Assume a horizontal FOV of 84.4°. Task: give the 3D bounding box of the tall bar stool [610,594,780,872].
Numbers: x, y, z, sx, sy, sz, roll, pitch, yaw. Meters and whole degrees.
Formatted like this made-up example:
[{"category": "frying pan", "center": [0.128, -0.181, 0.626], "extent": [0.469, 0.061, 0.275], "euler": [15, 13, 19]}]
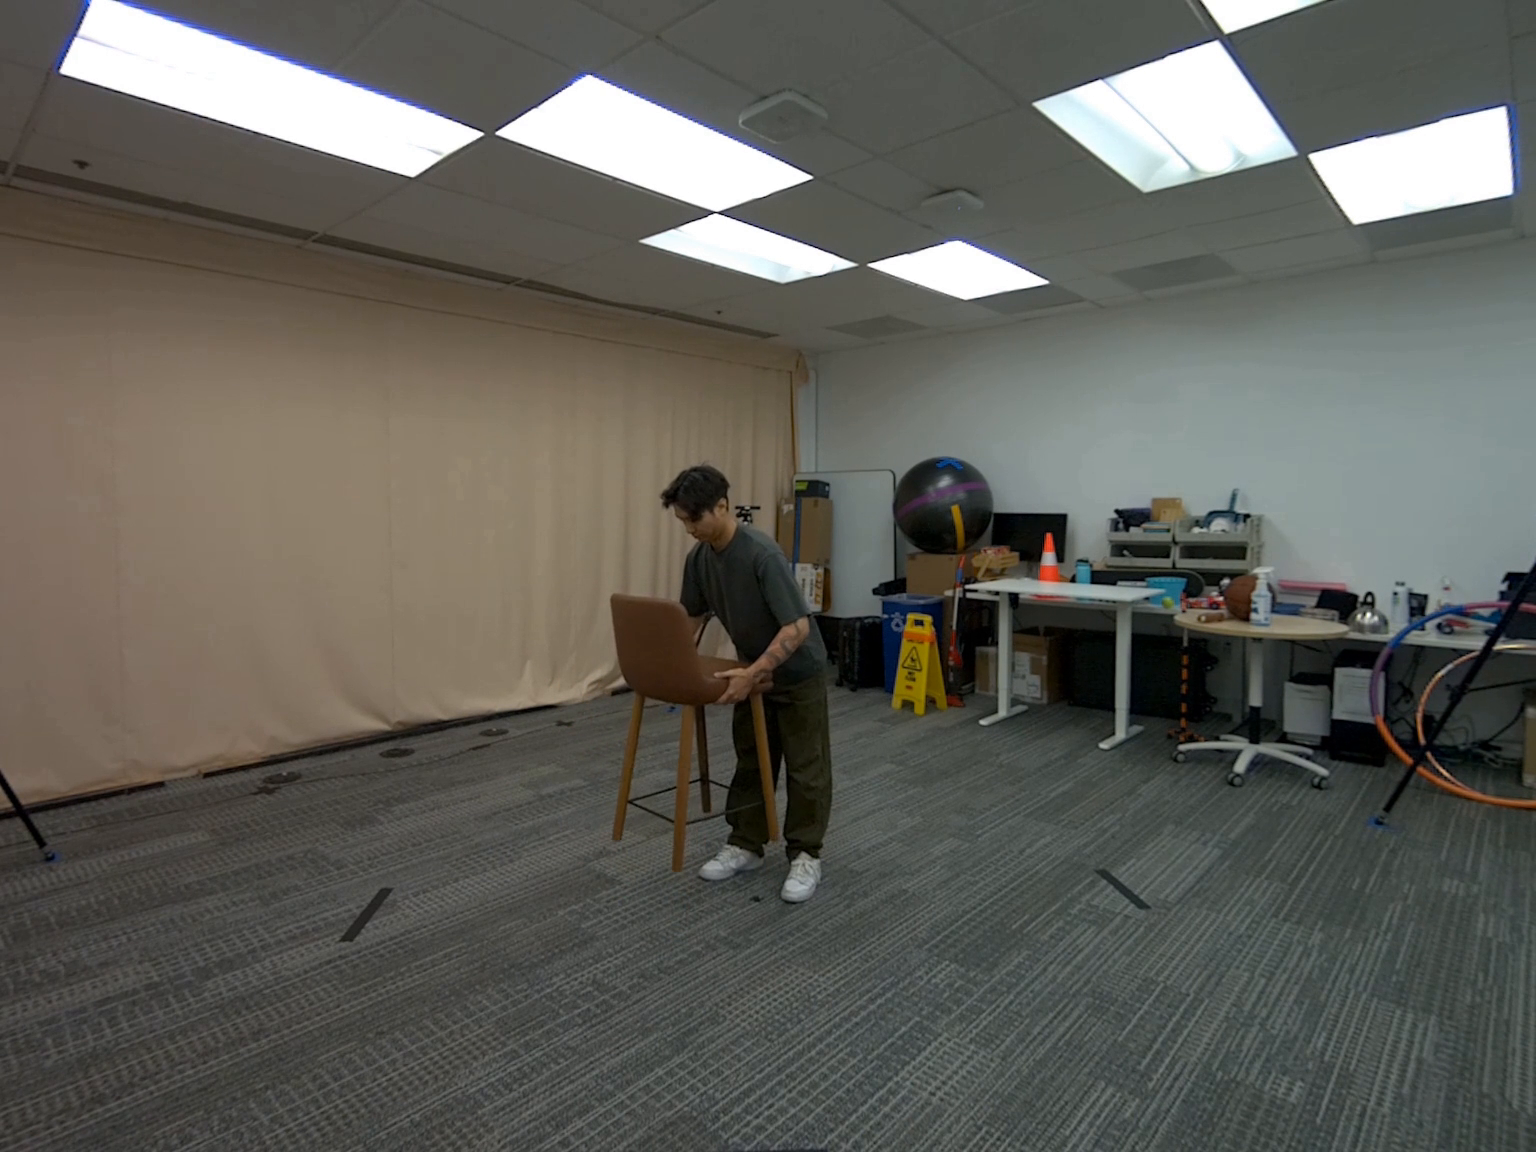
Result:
[{"category": "tall bar stool", "center": [-0.264, 0.501, 2.937], "extent": [0.453, 0.888, 0.471], "euler": [-5, 5, -41]}]
